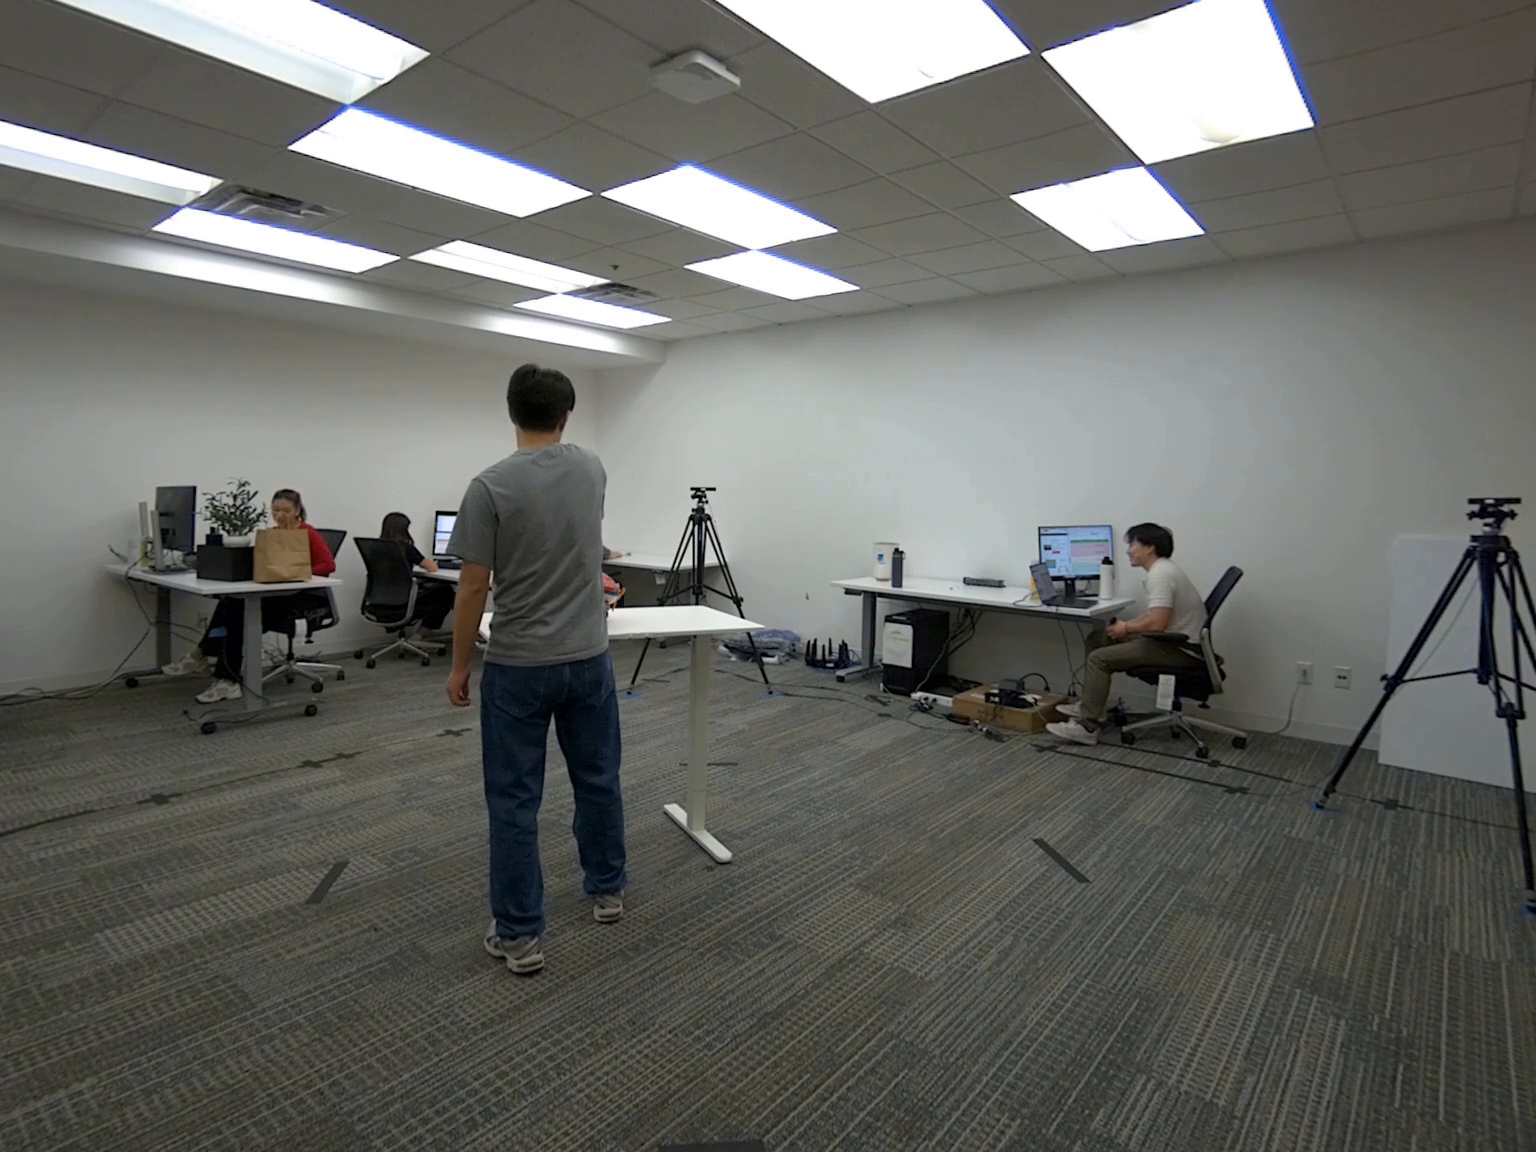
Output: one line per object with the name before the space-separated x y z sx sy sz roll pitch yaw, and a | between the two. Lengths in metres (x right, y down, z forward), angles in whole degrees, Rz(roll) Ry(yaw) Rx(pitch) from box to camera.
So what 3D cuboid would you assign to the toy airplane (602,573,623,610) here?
toy airplane | -0.679 0.055 3.180 0.261 0.156 0.249 30 -1 38
